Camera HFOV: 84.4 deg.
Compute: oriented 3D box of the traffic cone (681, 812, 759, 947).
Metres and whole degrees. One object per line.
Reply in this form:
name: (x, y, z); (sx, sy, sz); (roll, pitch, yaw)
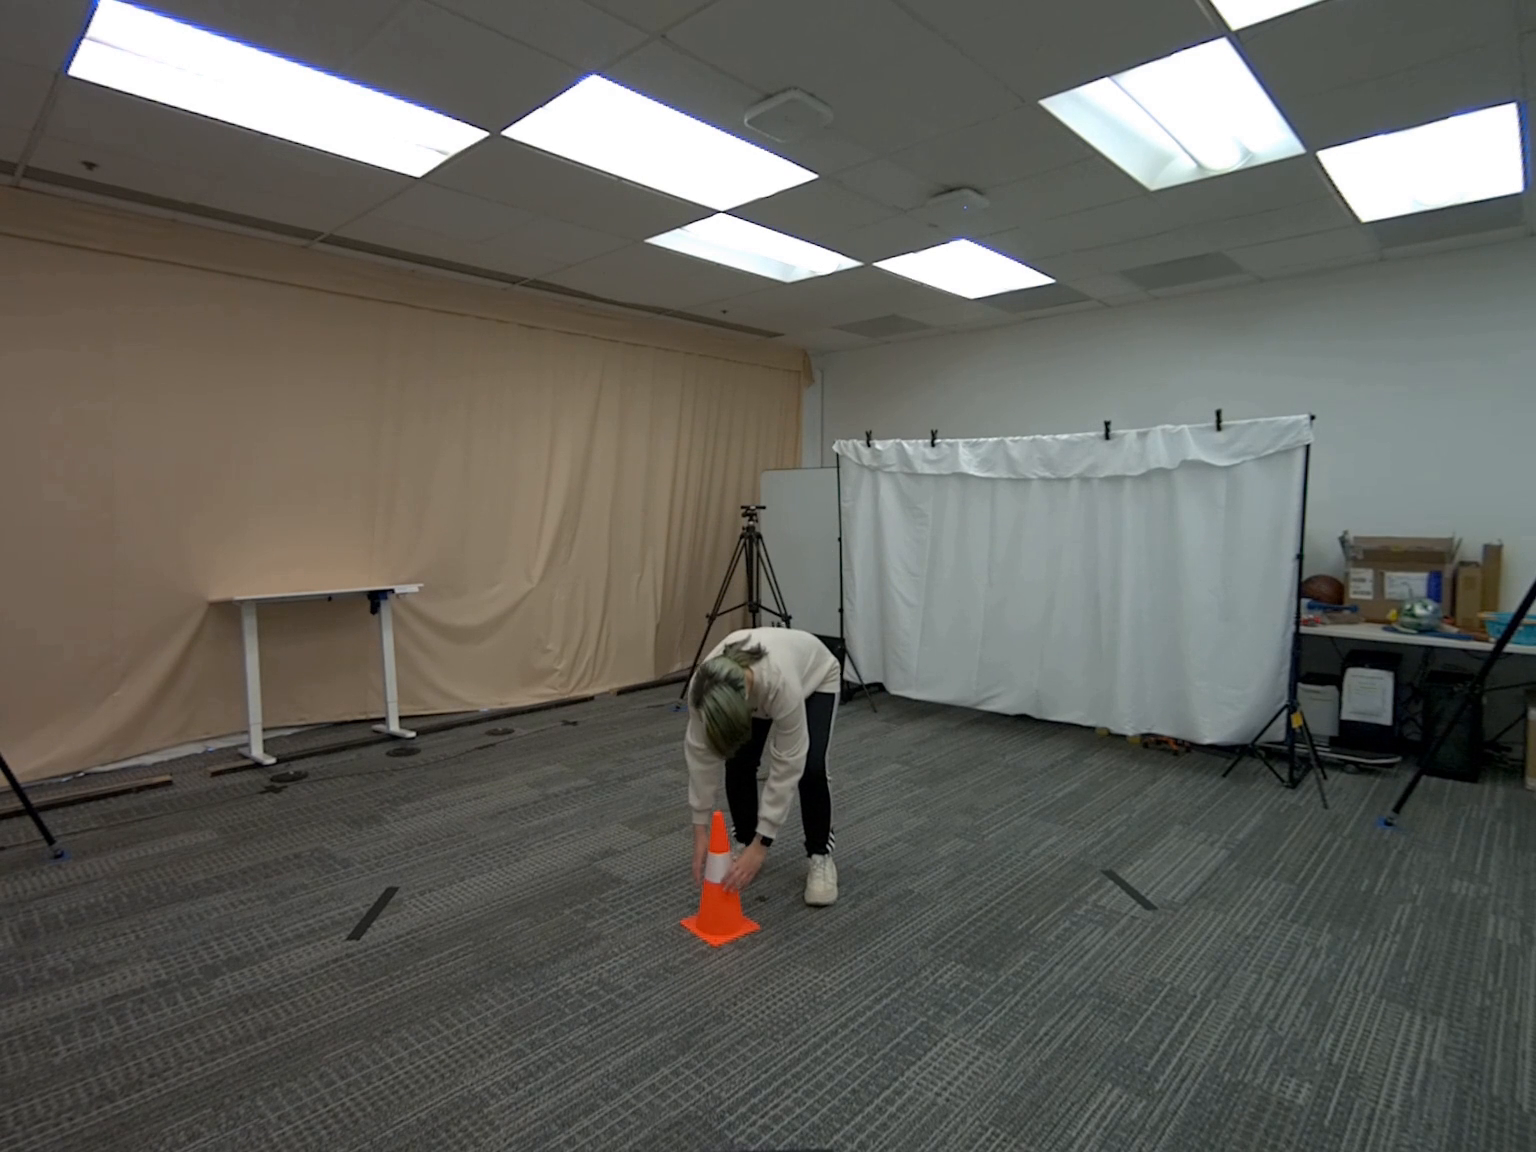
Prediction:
traffic cone: (-0.158, 0.978, 2.792); (0.197, 0.383, 0.211); (-1, 3, -34)
